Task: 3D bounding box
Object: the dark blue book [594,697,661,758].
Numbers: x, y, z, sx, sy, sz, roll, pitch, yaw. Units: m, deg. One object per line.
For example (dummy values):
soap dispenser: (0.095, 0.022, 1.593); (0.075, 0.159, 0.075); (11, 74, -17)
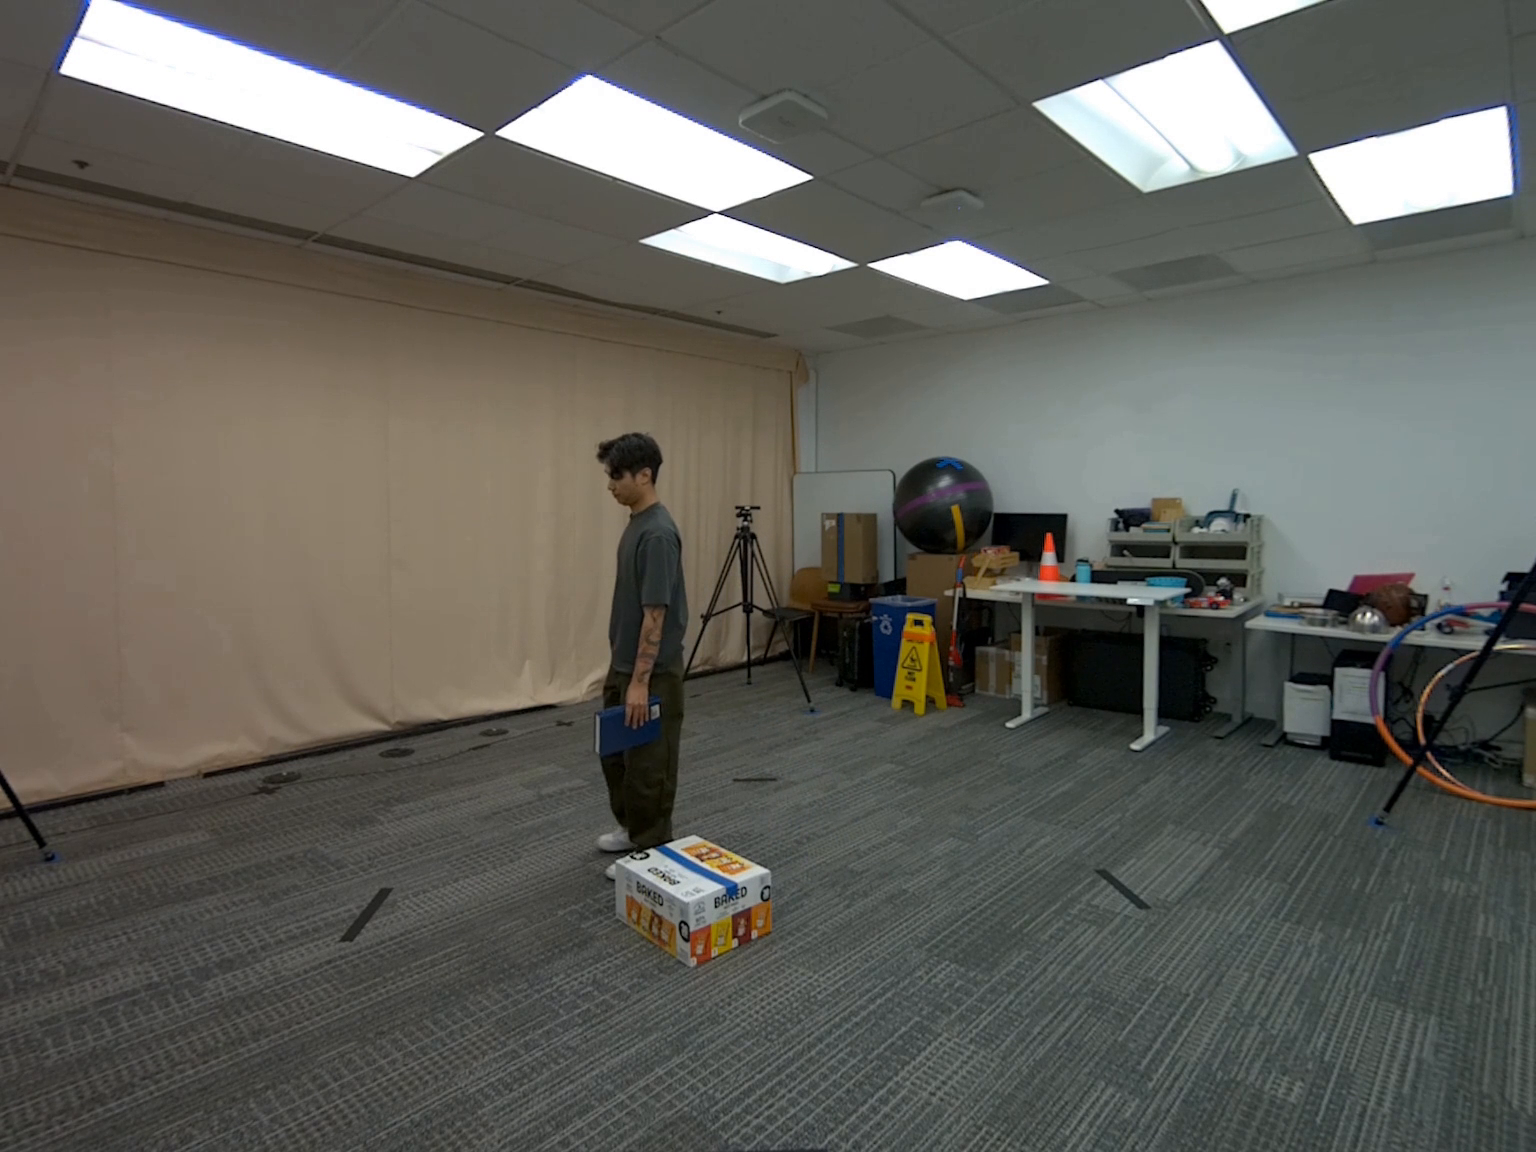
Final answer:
dark blue book: (-0.495, 0.526, 2.968); (0.239, 0.162, 0.047); (-11, 23, -34)
